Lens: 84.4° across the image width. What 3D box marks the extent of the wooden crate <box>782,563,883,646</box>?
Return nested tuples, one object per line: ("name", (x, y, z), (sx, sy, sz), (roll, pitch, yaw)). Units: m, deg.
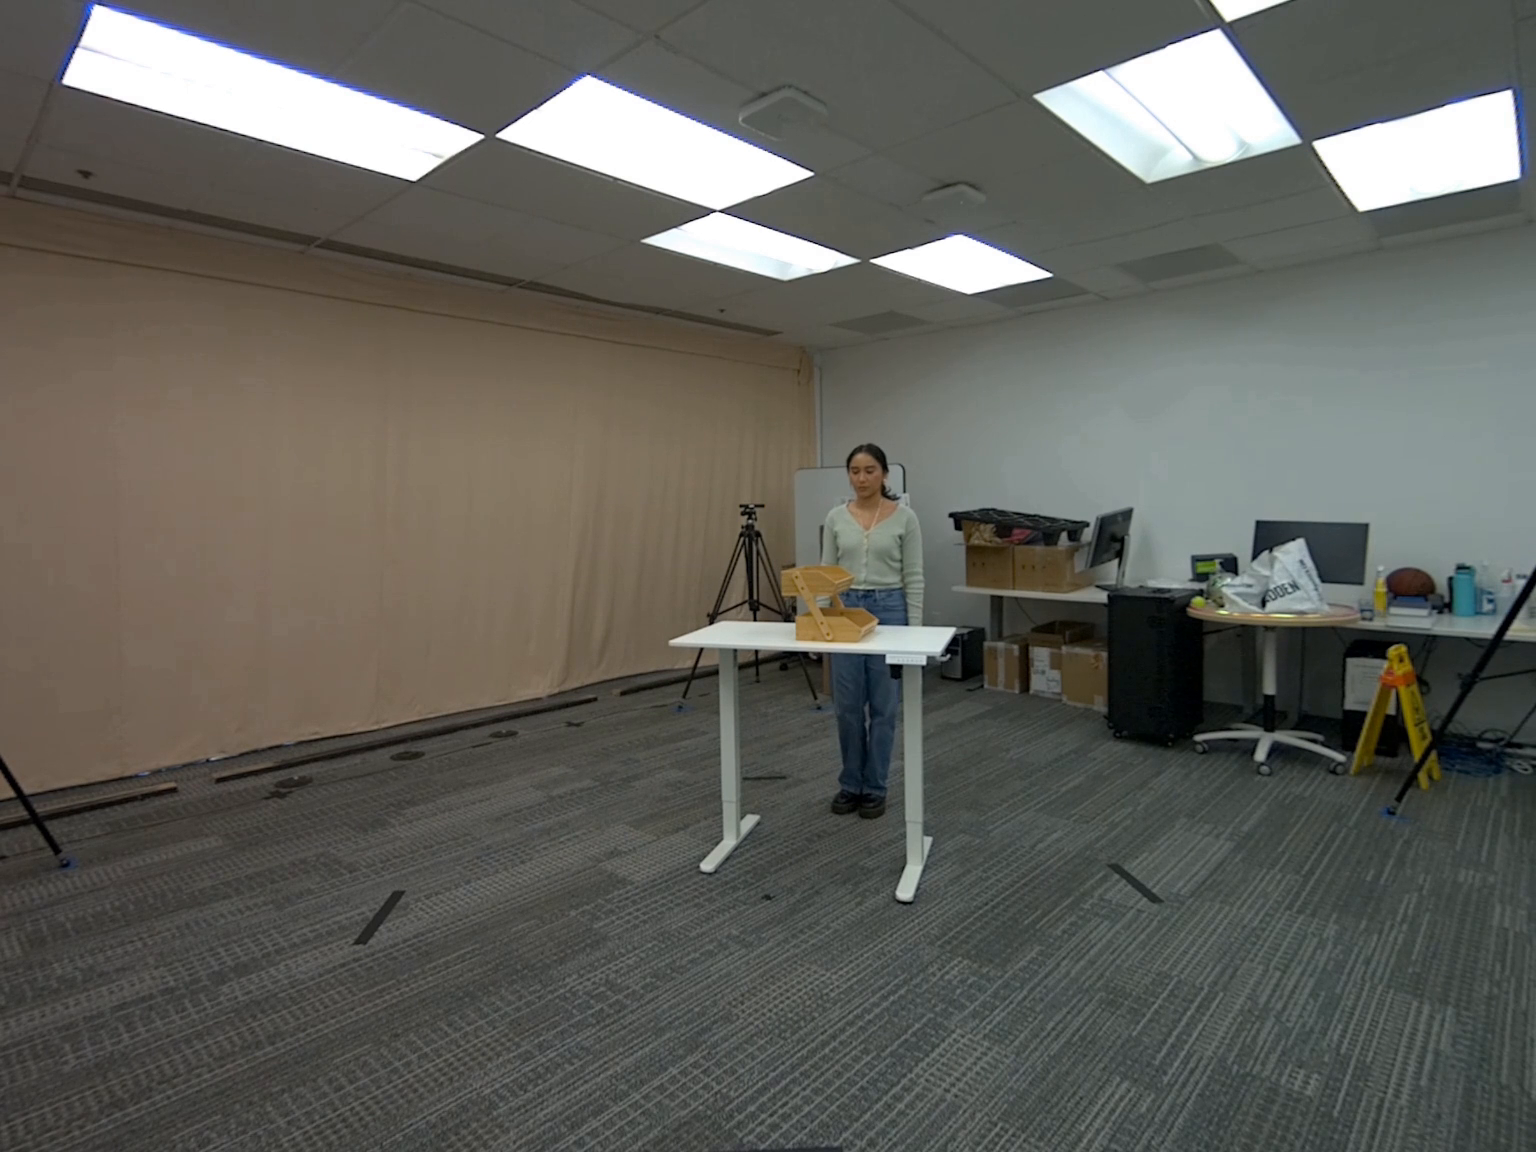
("wooden crate", (0.249, 0.096, 3.224), (0.308, 0.273, 0.318), (-1, 4, 19))
